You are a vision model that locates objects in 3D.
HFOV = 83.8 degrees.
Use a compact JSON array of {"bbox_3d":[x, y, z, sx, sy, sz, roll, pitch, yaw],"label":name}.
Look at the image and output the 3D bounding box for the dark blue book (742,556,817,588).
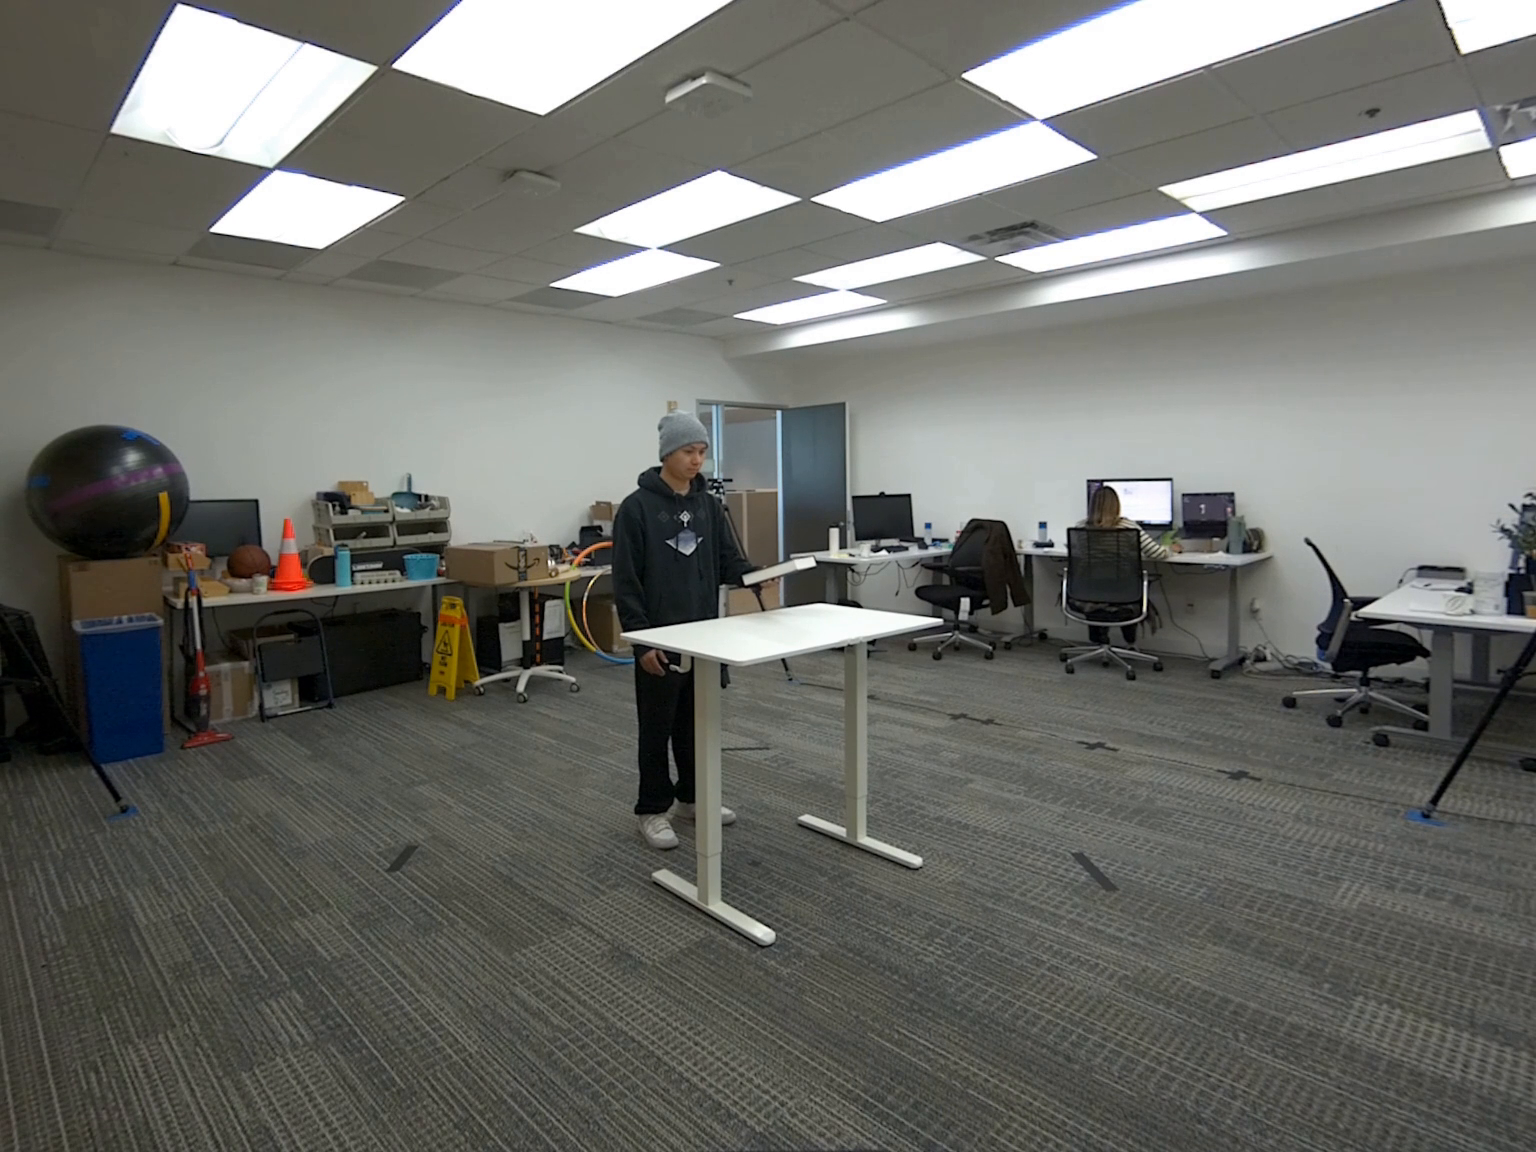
[{"bbox_3d":[0.046,-0.021,3.224,0.249,0.045,0.160,-16,-3,25],"label":"dark blue book"}]
